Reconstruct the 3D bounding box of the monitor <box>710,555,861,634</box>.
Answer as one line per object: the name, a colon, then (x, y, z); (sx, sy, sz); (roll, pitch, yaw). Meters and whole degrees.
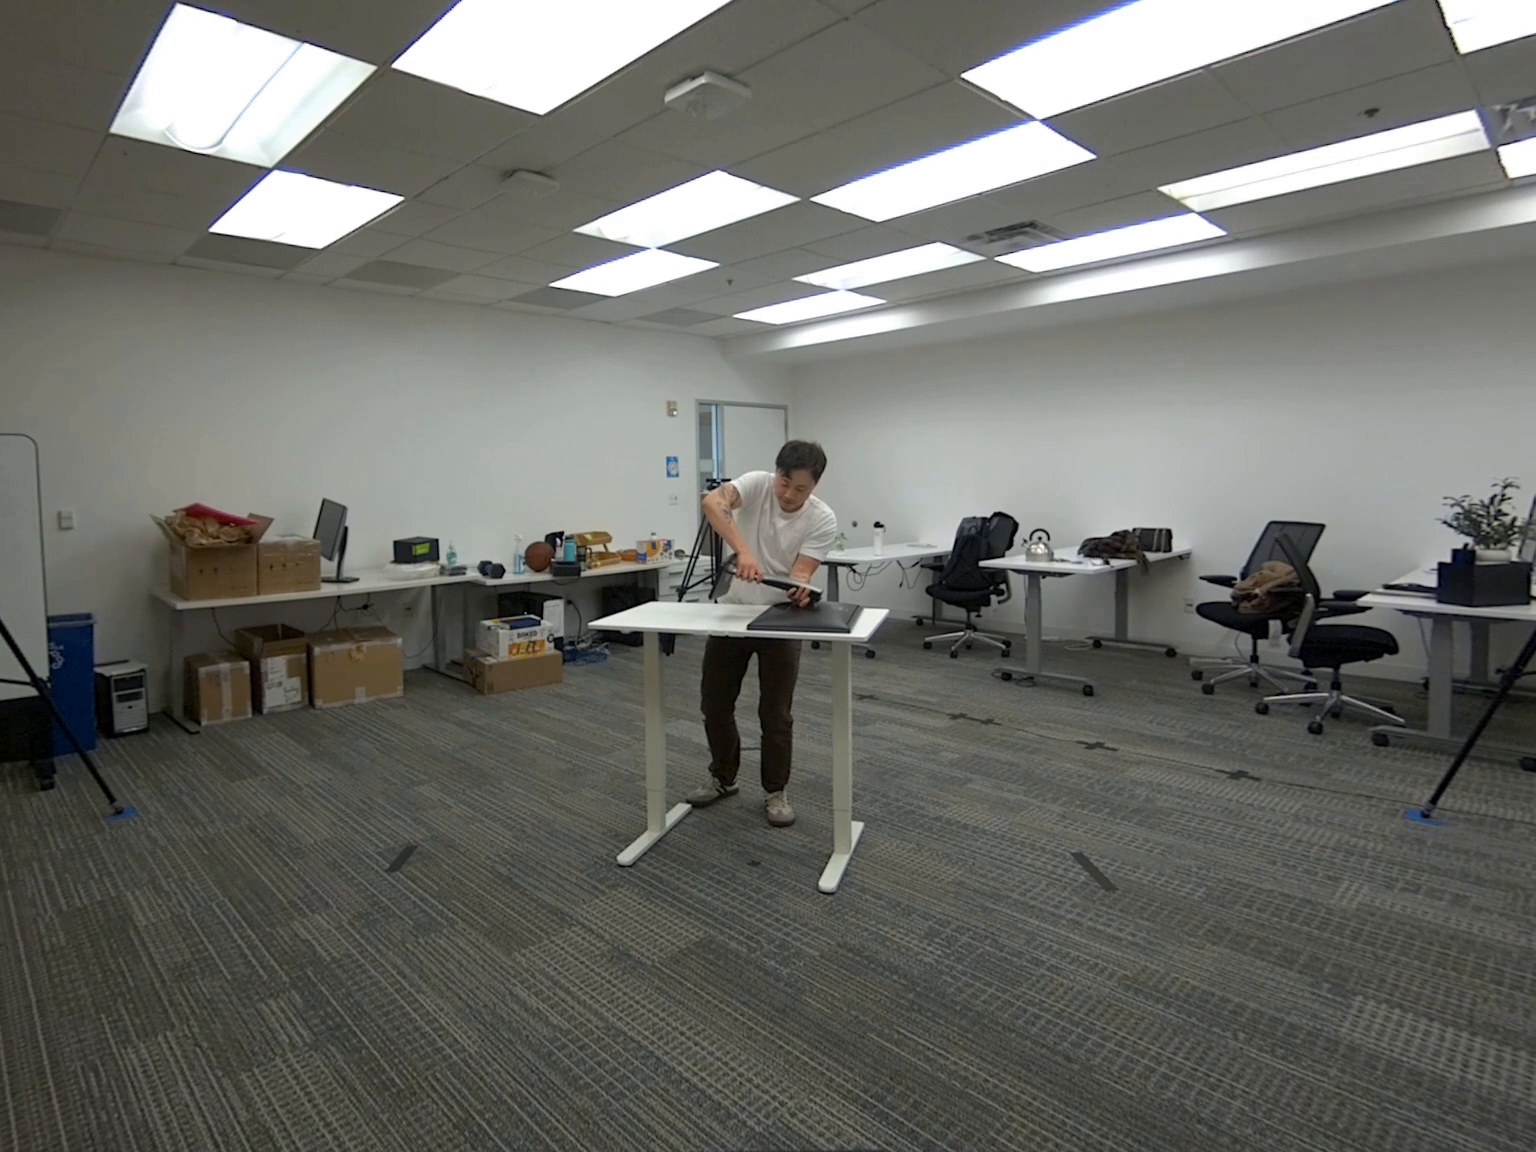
monitor: (0.072, 0.094, 3.144); (0.530, 0.186, 0.535); (21, 11, 10)
